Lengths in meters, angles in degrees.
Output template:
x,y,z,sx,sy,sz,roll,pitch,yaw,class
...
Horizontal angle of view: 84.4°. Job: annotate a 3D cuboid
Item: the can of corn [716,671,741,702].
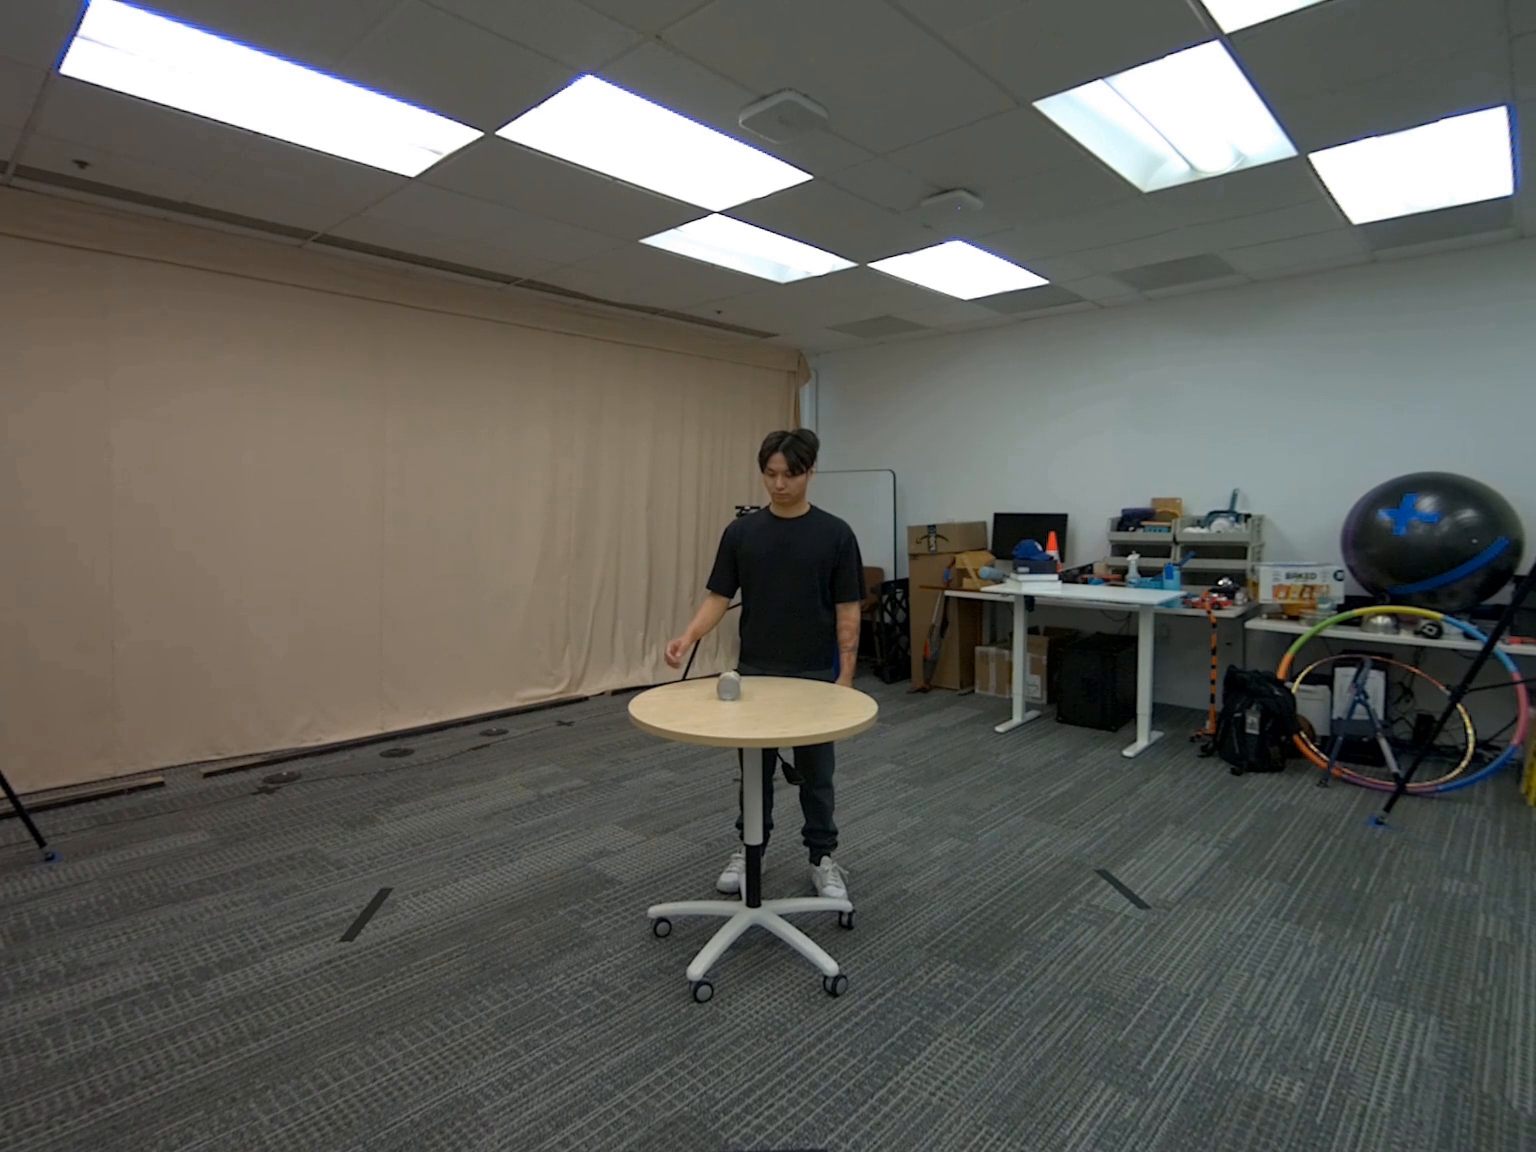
x,y,z,sx,sy,sz,roll,pitch,yaw,class
-0.121,0.348,2.680,0.074,0.074,0.111,0,5,0,can of corn
